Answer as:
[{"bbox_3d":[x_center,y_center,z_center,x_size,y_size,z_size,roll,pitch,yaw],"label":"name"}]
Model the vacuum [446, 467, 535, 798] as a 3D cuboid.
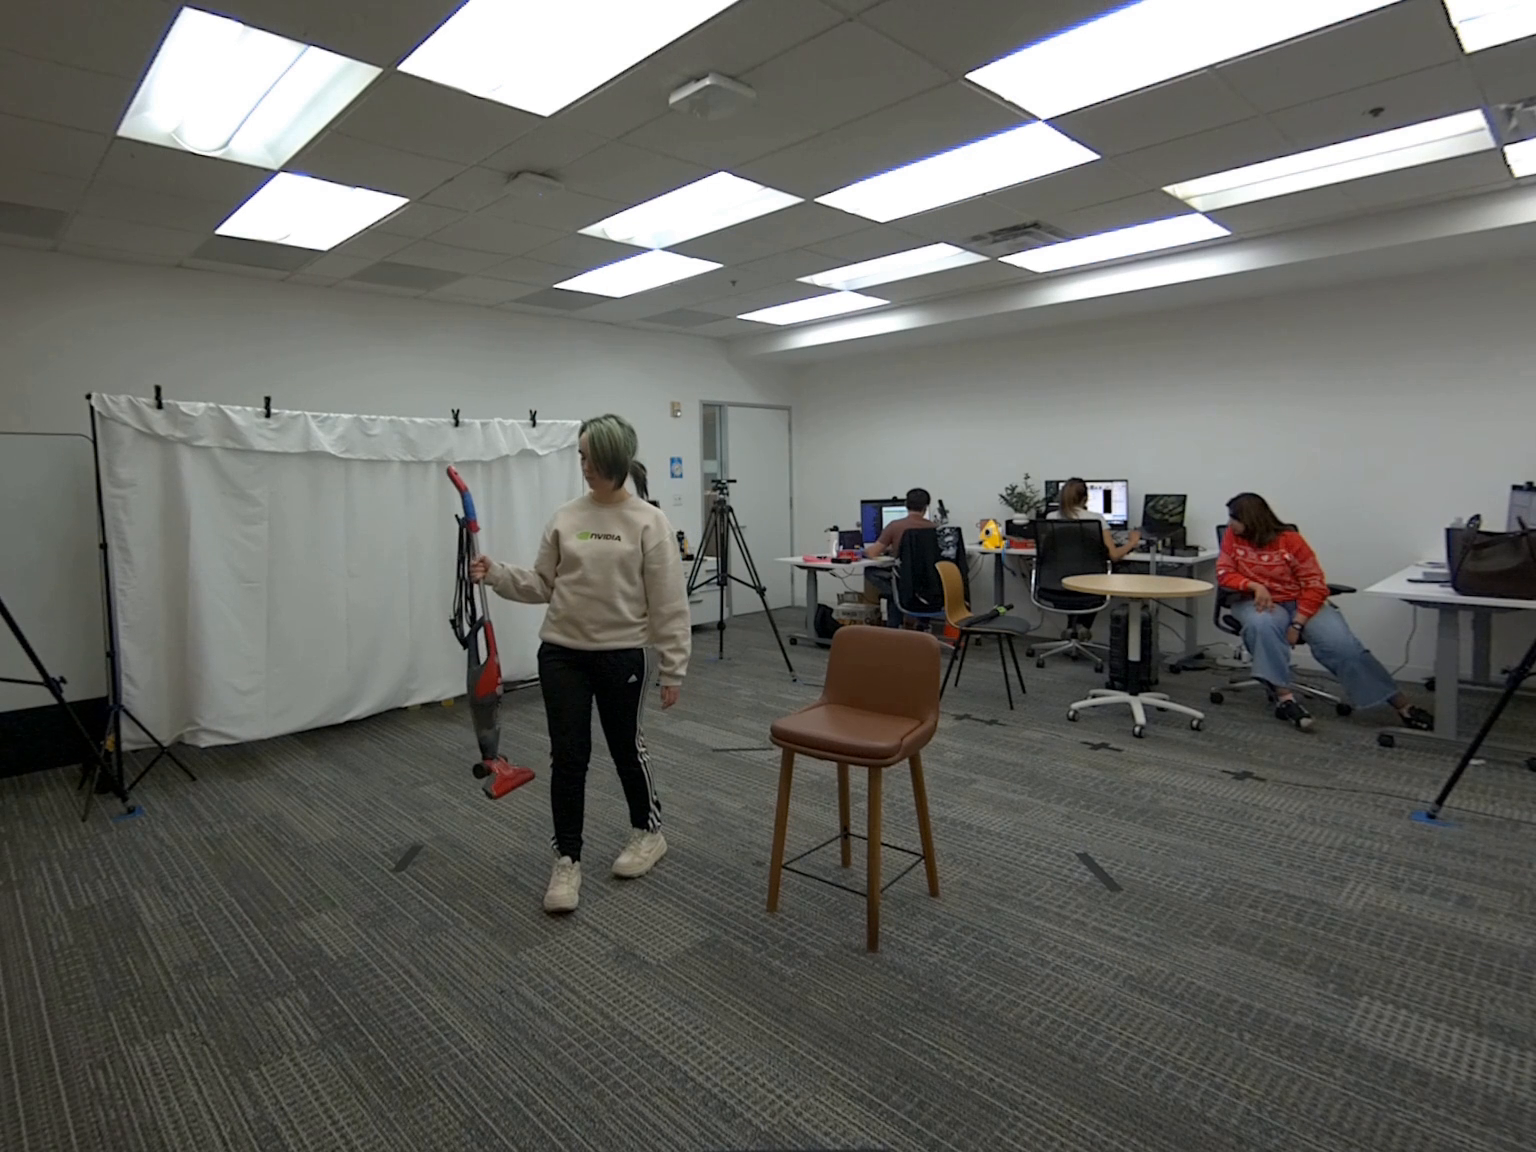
[{"bbox_3d":[-0.994,0.151,2.885,0.145,1.052,0.249,-11,-3,12],"label":"vacuum"}]
